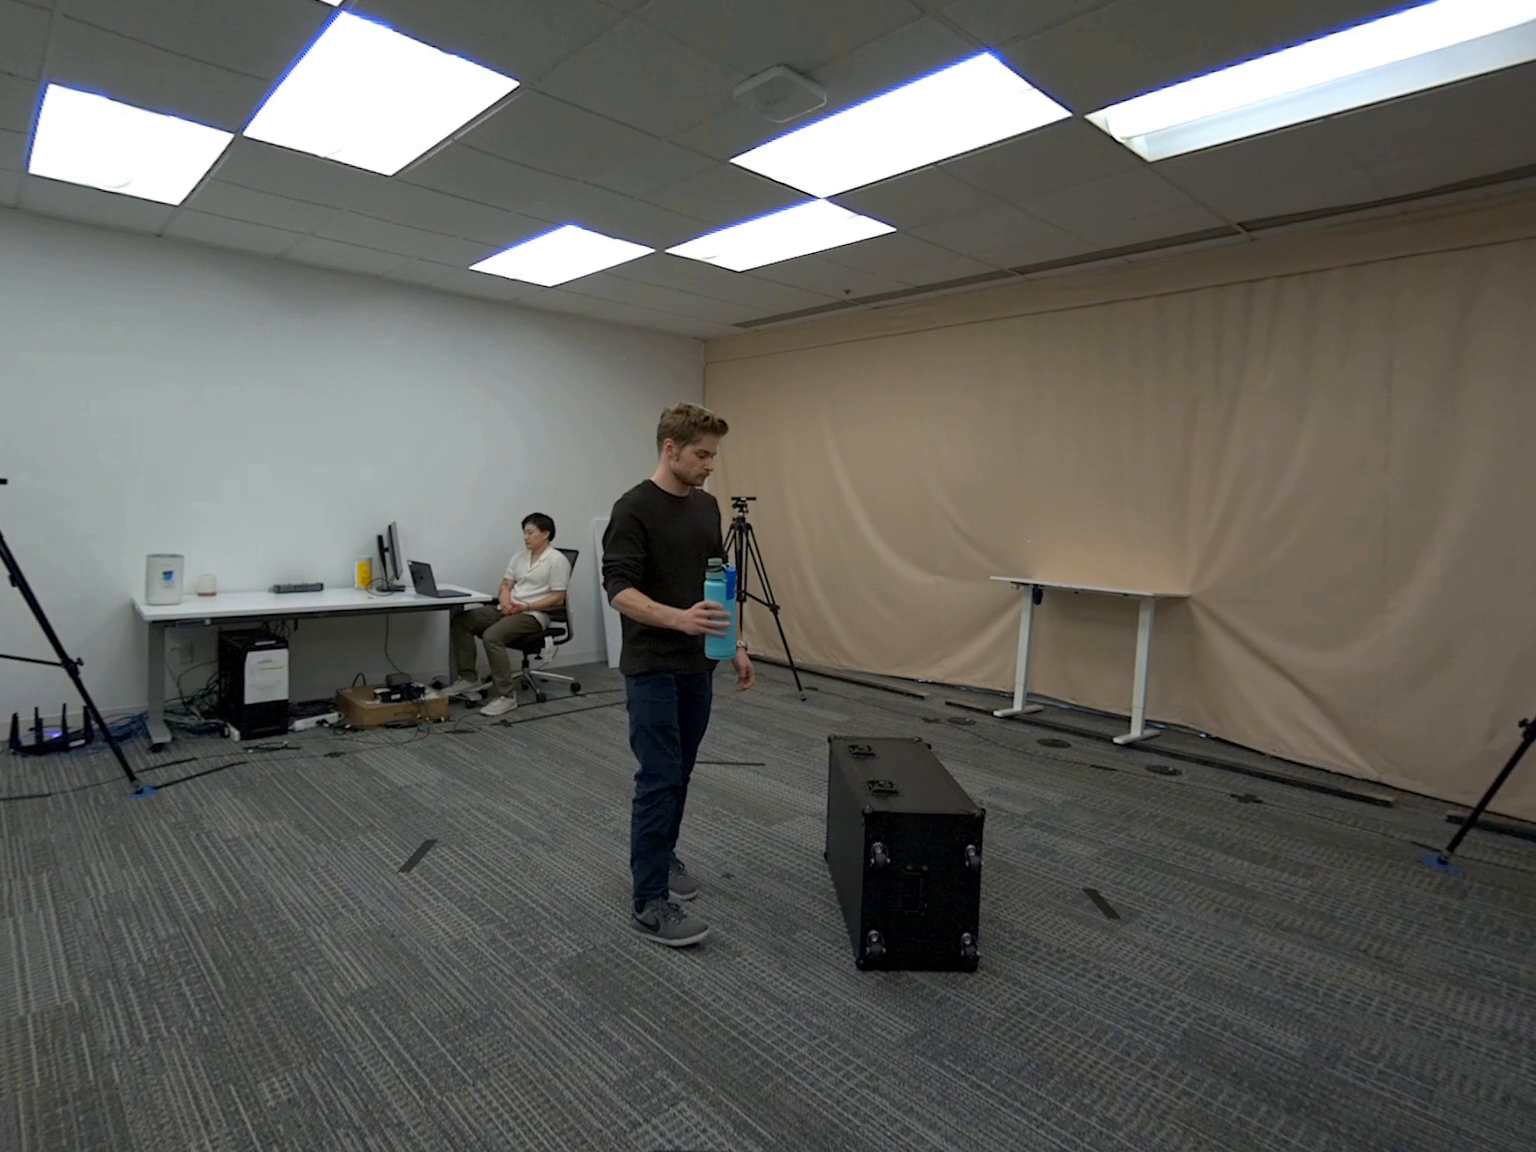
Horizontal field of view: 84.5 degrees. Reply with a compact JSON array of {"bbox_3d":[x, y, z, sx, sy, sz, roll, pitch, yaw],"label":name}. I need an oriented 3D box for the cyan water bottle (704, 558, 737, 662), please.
[{"bbox_3d":[-0.147,0.093,2.427,0.092,0.281,0.093,1,11,-2],"label":"cyan water bottle"}]
